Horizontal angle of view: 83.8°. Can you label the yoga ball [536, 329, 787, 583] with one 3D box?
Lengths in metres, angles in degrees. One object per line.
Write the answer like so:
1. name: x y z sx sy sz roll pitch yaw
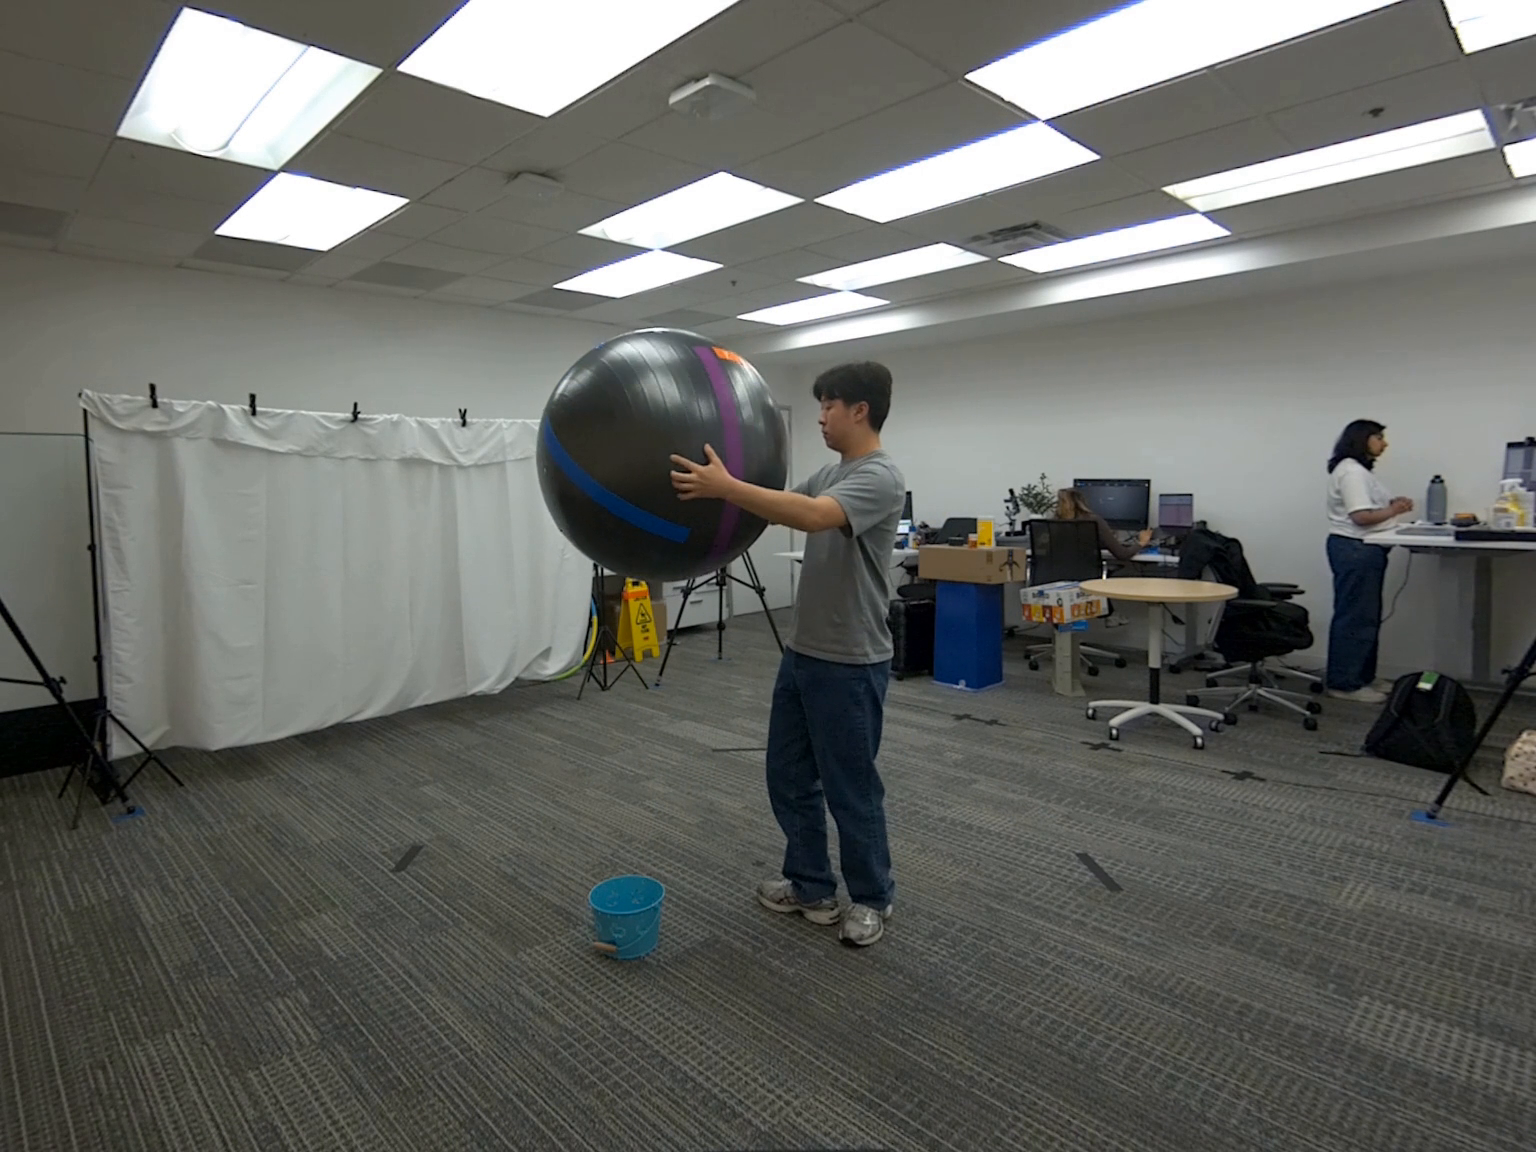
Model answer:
1. yoga ball: -0.325 -0.354 2.583 0.757 0.755 0.762 -1 5 -2
